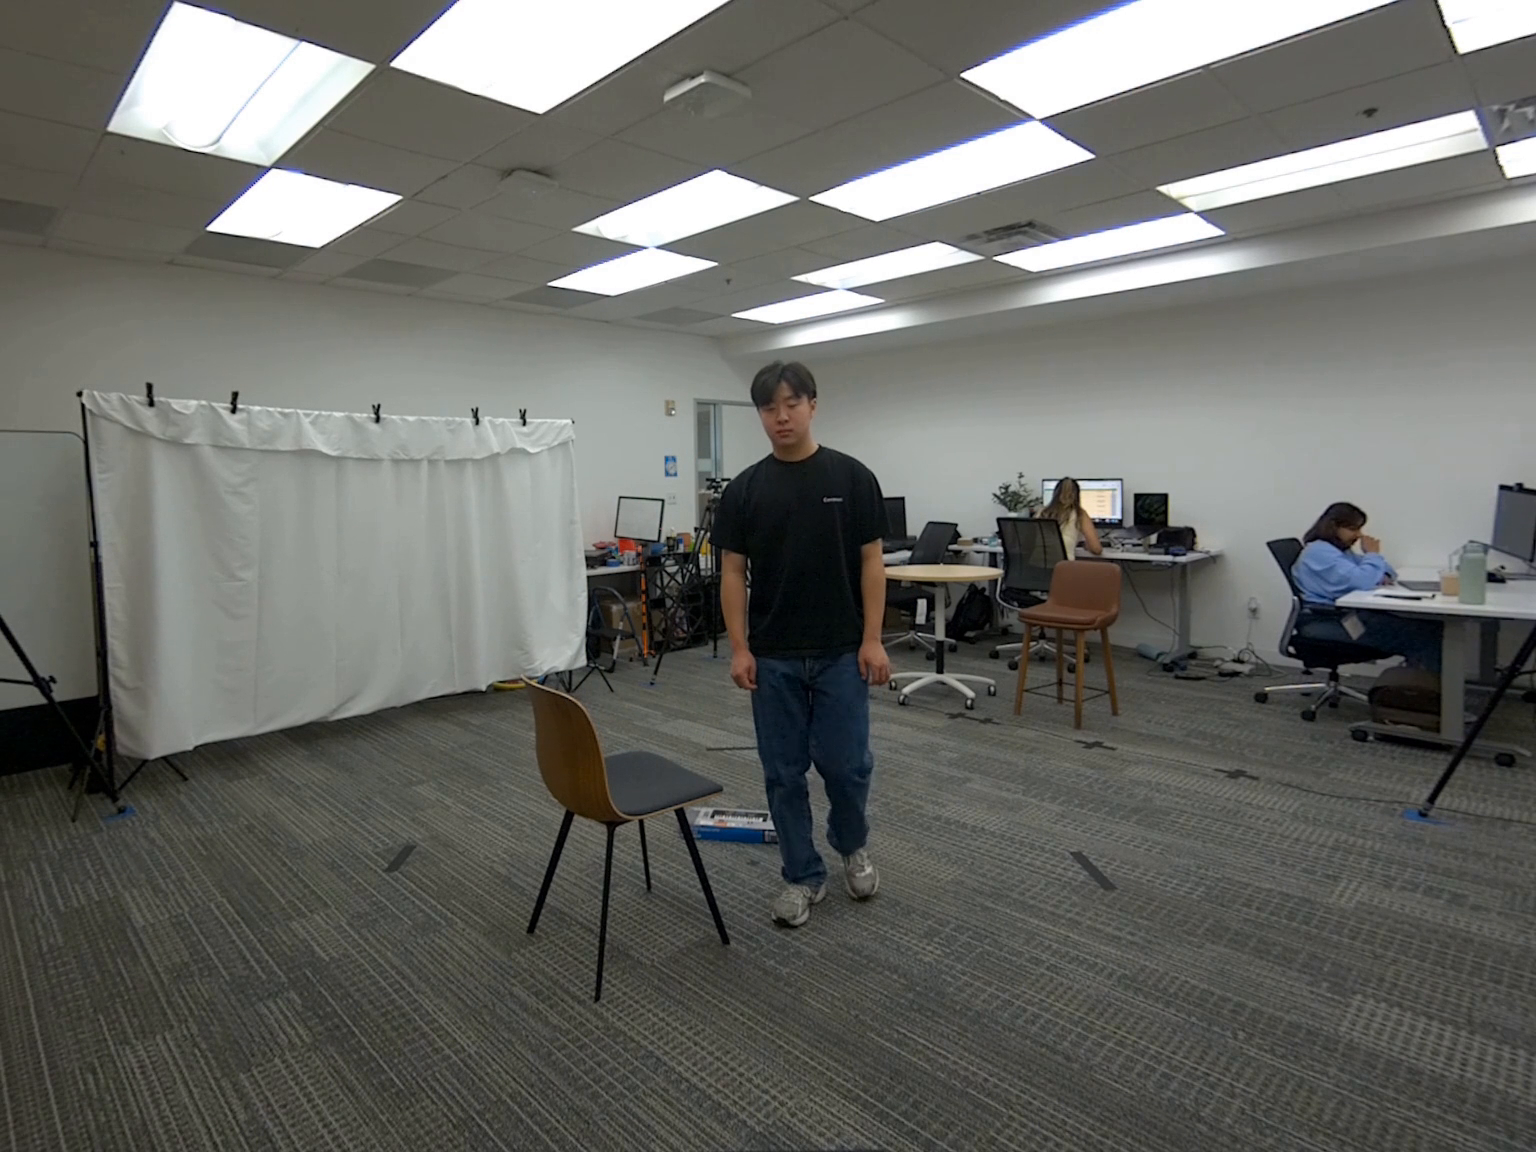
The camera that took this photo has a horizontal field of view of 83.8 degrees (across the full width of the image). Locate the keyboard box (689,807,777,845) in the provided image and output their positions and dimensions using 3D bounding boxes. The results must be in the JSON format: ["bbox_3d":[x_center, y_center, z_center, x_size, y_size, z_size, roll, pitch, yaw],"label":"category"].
[{"bbox_3d":[-0.114,0.987,3.375,0.441,0.059,0.175,0,7,10],"label":"keyboard box"}]
